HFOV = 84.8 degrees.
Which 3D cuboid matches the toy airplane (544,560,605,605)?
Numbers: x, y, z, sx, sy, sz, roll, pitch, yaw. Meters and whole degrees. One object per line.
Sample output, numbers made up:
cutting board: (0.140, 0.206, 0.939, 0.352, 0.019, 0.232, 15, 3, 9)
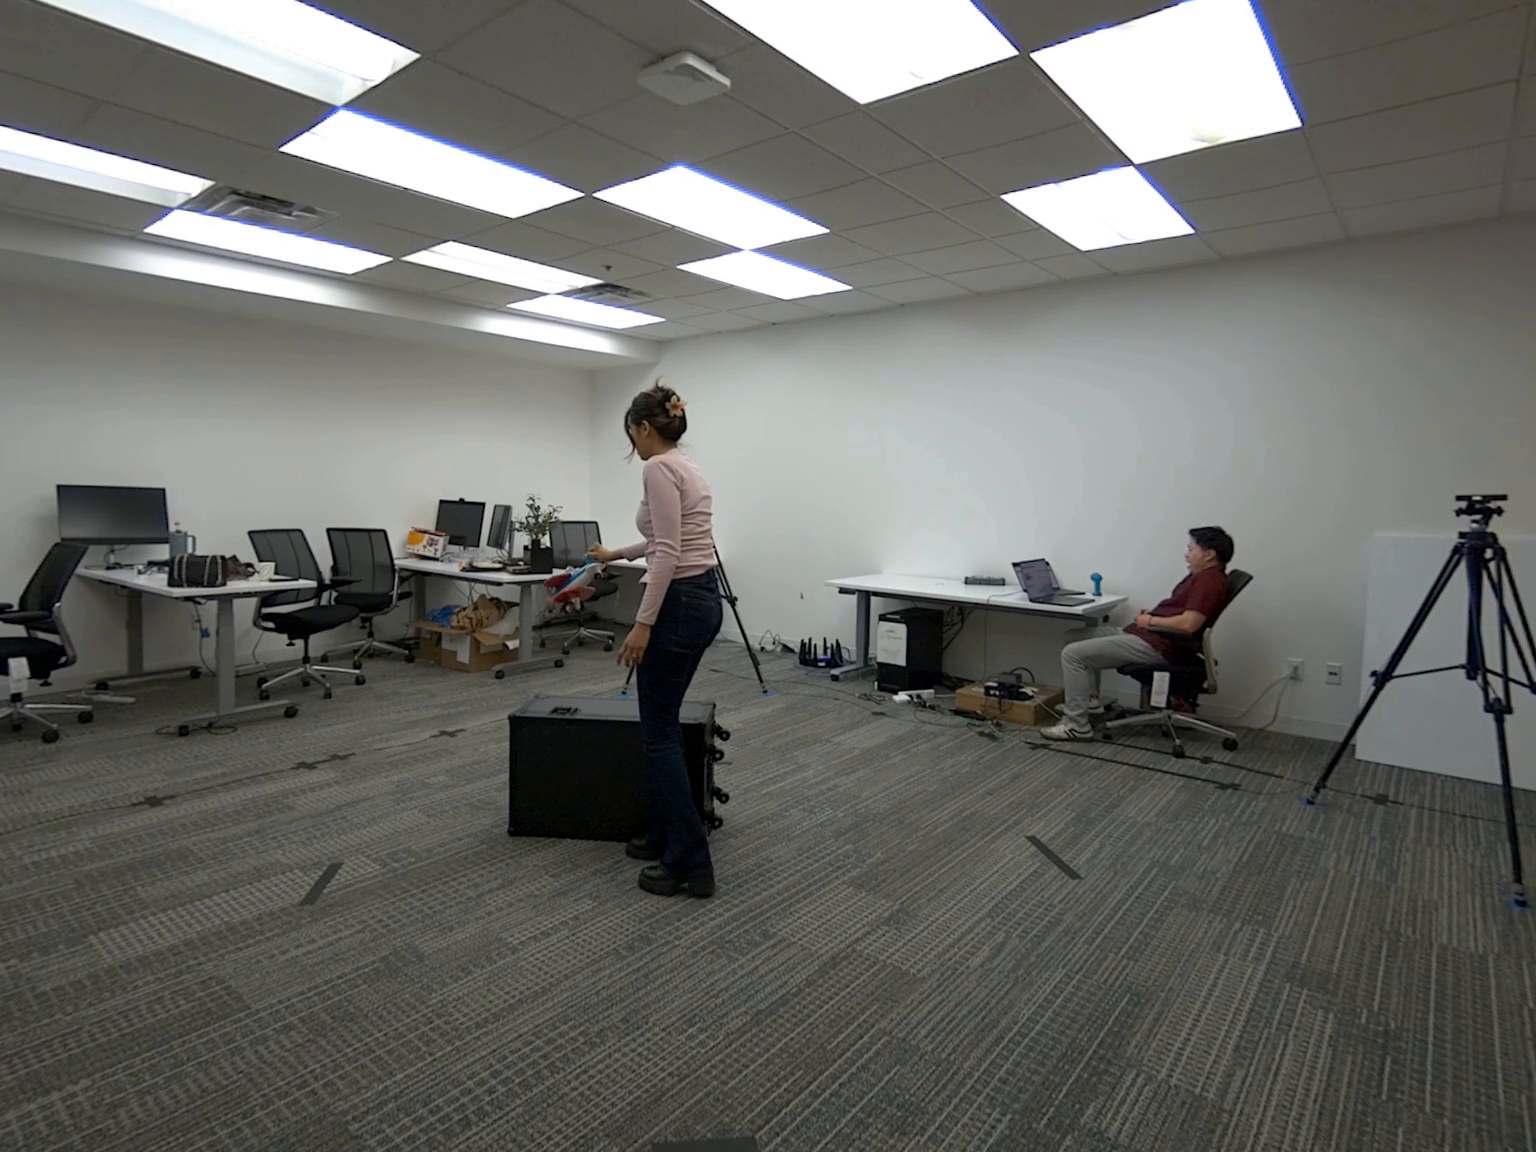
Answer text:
toy airplane: (-0.789, 0.031, 3.534, 0.160, 0.259, 0.245, 42, -14, 15)
